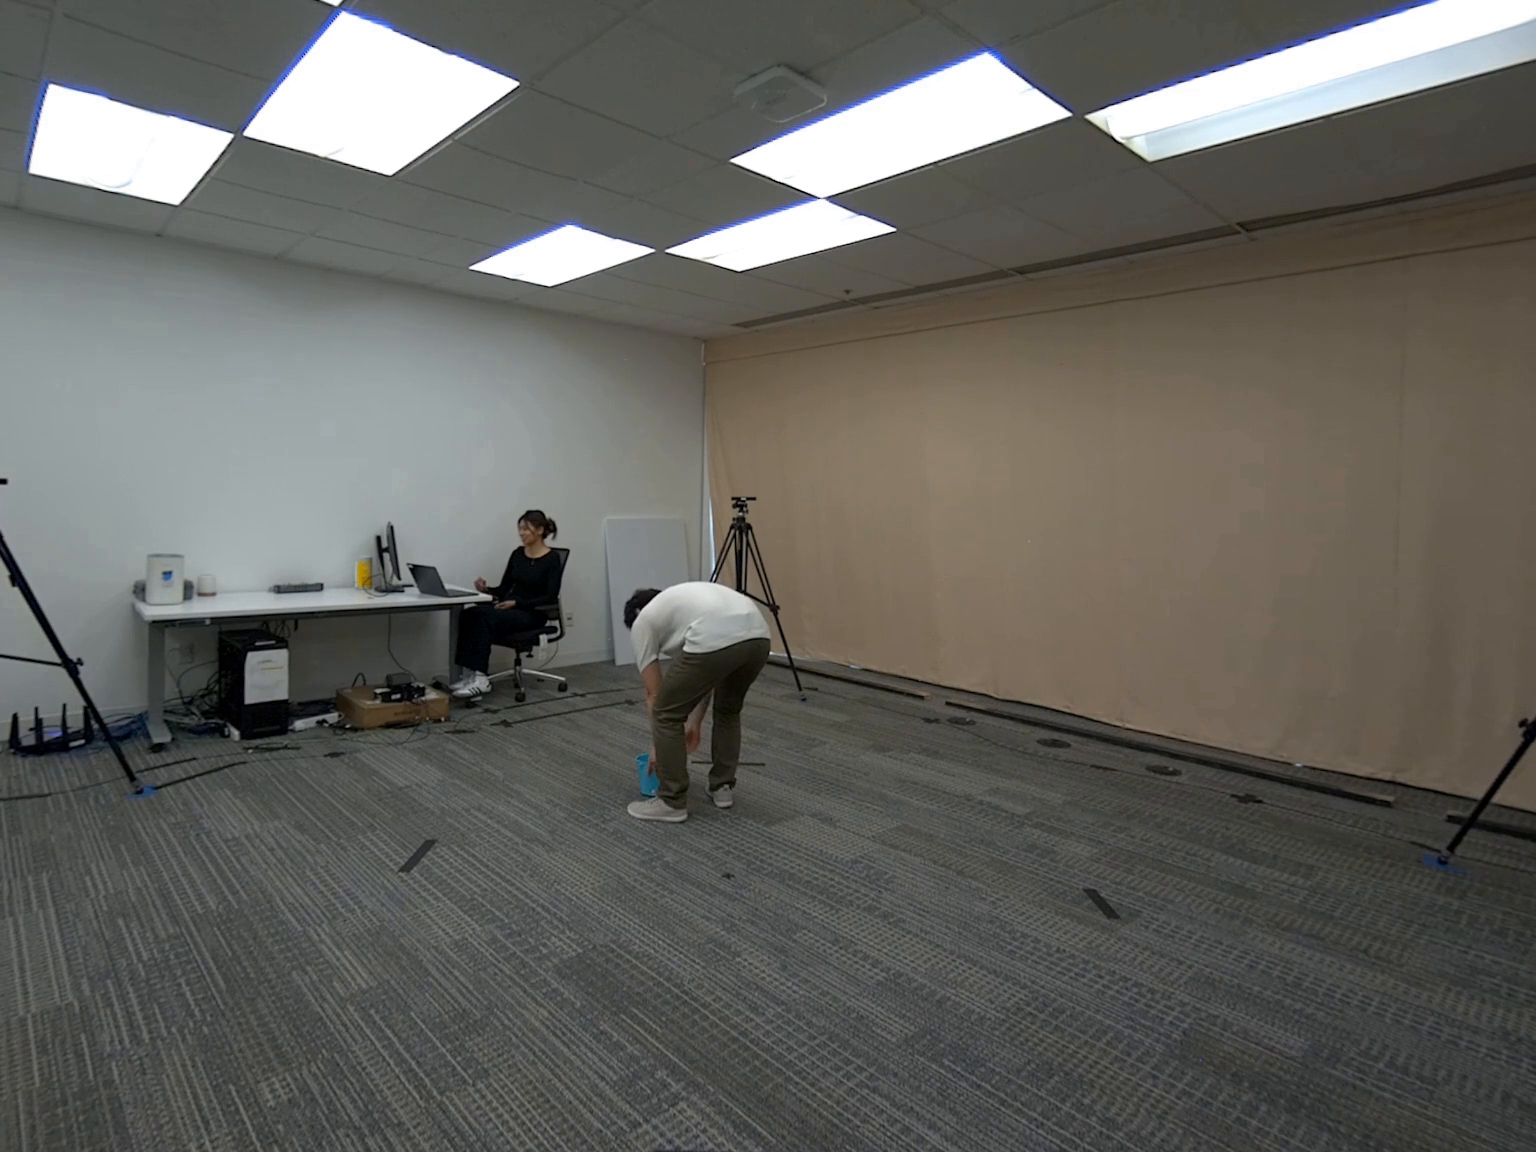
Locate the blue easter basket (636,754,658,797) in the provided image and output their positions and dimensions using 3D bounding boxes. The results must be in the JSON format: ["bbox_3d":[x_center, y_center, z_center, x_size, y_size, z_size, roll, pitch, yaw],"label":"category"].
[{"bbox_3d":[-0.518,0.931,3.991,0.243,0.156,0.244,1,2,-1],"label":"blue easter basket"}]
